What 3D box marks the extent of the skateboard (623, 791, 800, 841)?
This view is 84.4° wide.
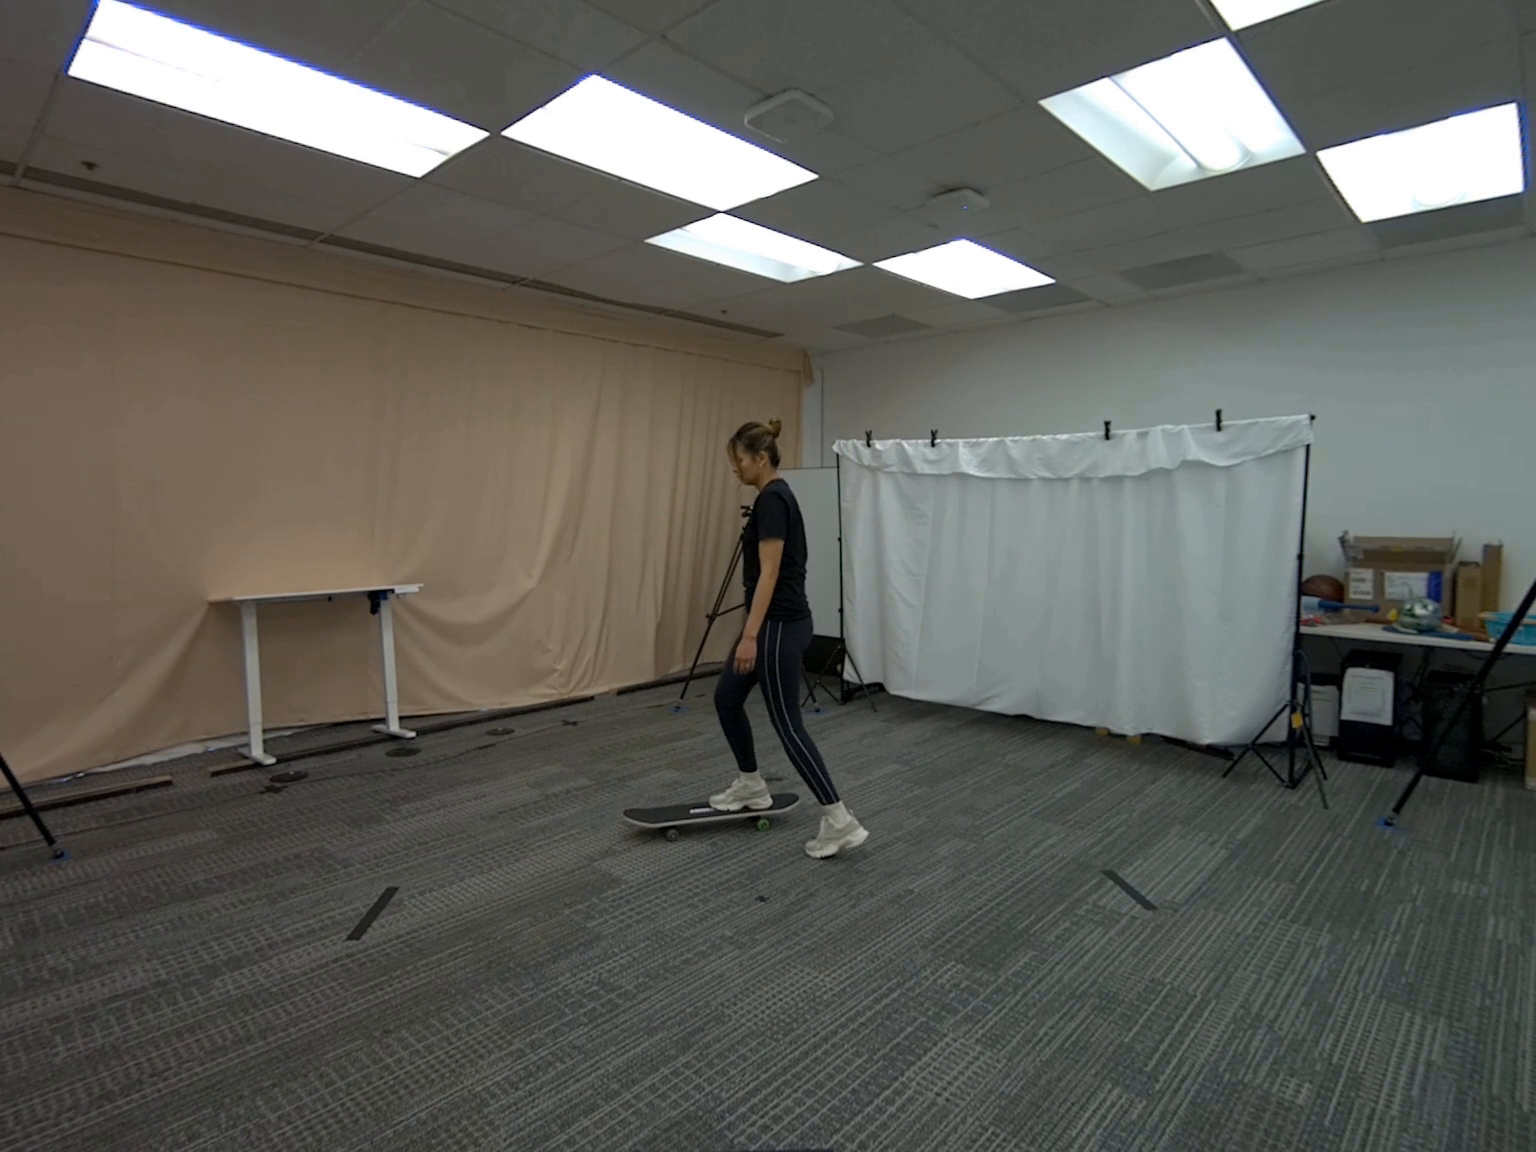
[{"bbox_3d":[-0.238,1.042,3.630,0.773,0.110,0.197,-2,4,-15],"label":"skateboard"}]
